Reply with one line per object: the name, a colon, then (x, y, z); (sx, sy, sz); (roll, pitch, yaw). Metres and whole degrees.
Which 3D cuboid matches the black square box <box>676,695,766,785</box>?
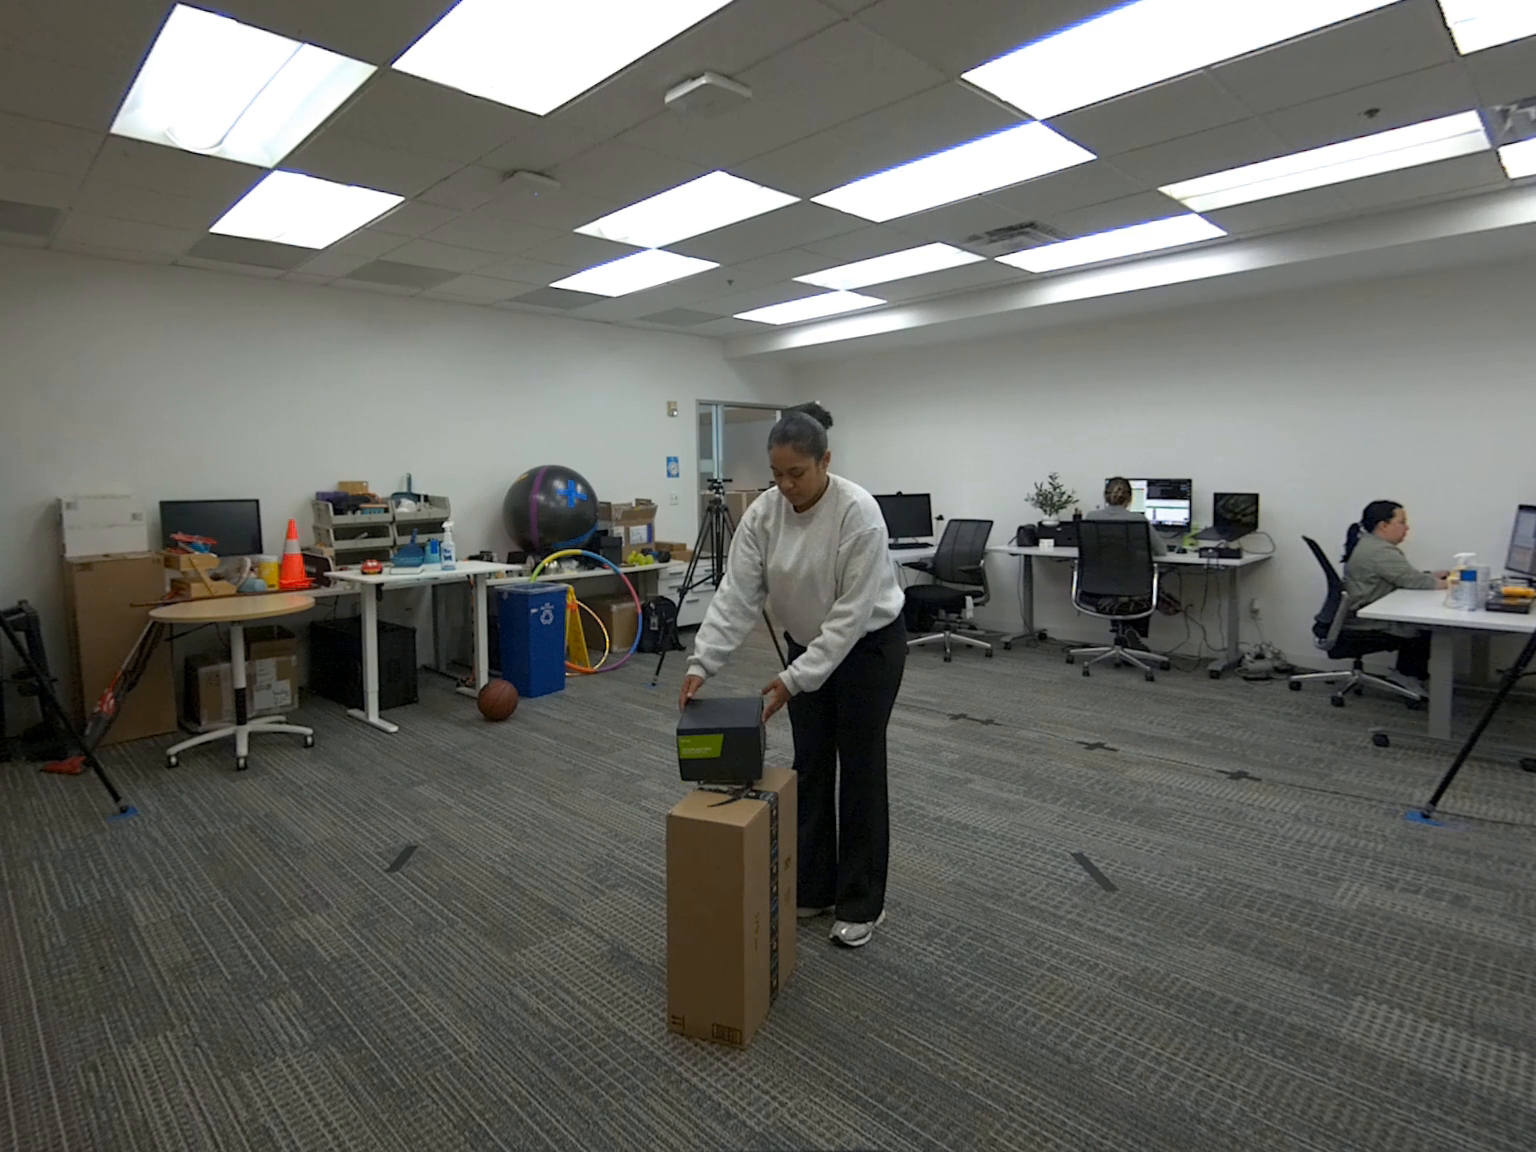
black square box: (-0.124, 0.447, 2.425); (0.229, 0.155, 0.217); (-3, 8, 4)
